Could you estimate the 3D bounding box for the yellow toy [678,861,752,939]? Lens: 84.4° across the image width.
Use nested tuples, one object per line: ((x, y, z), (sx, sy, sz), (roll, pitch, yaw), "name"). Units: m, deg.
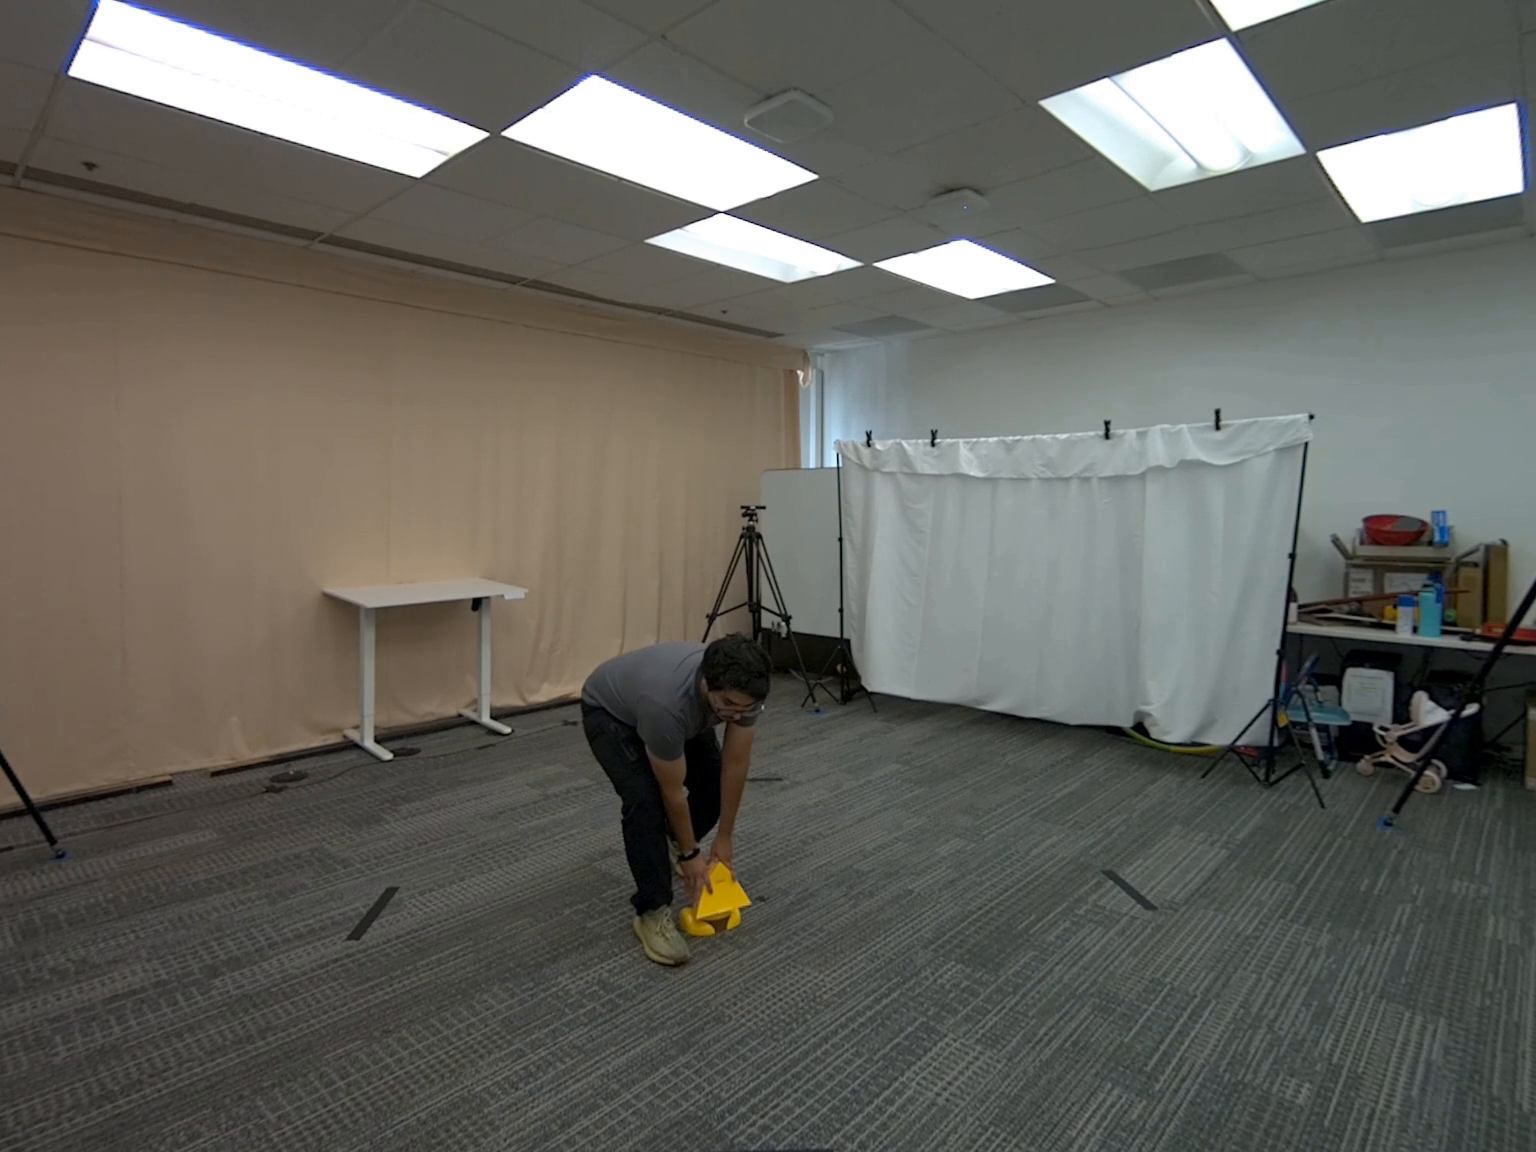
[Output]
((-0.192, 1.048, 2.806), (0.199, 0.230, 0.199), (-3, 6, -30), "yellow toy")
